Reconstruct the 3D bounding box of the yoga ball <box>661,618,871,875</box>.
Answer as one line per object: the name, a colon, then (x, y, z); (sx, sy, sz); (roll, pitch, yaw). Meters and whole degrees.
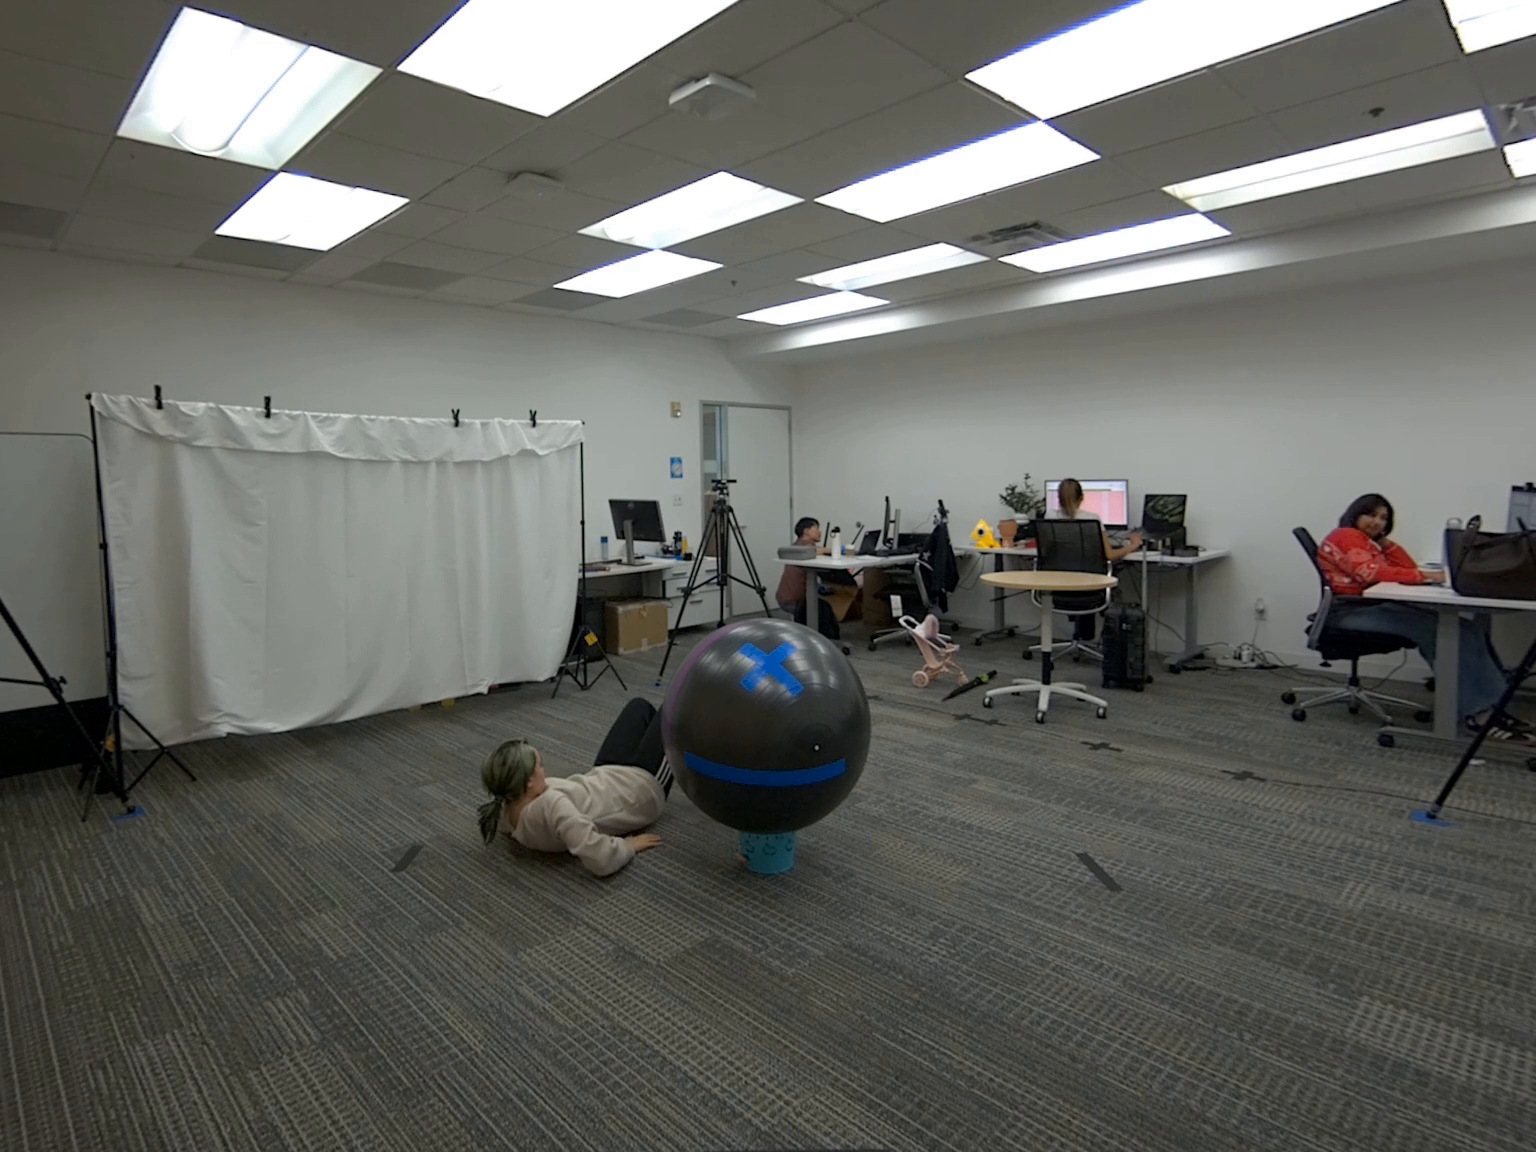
yoga ball: (-0.009, 0.534, 3.092); (0.757, 0.755, 0.762); (-1, 5, -2)
